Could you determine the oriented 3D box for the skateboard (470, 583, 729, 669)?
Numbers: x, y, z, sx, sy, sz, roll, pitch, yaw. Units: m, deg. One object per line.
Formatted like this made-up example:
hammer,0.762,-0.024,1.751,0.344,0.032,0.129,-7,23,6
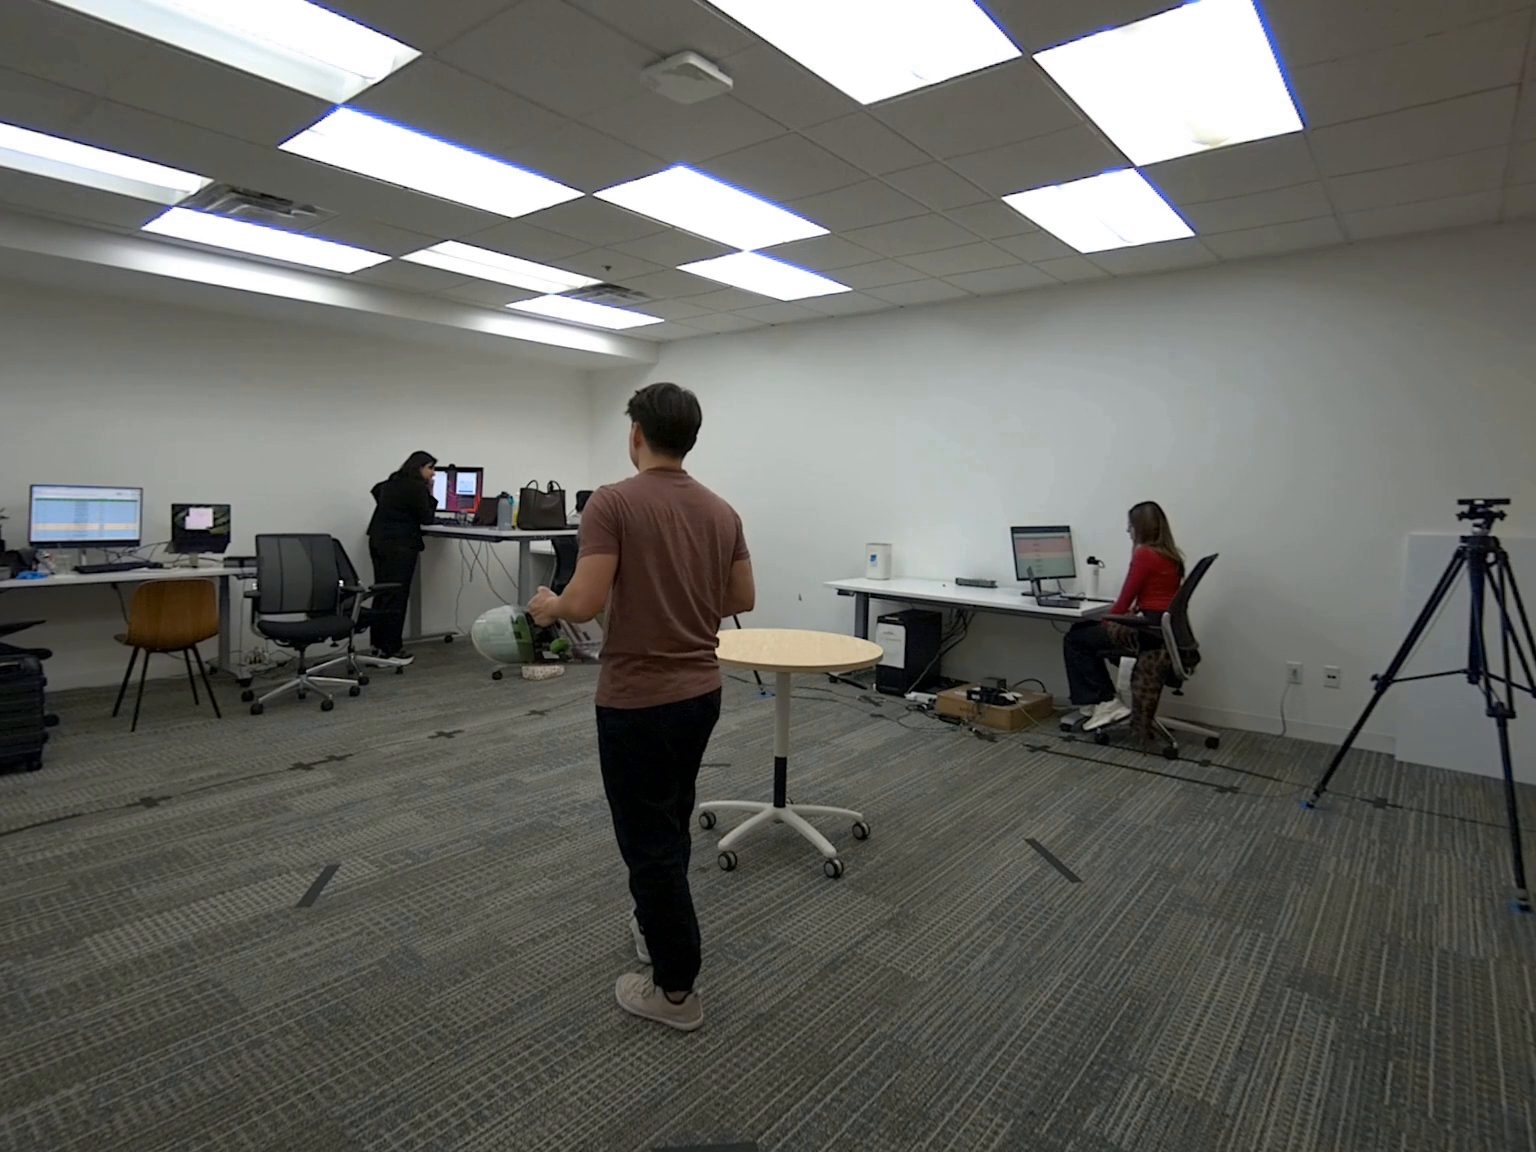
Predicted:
skateboard,-0.469,0.148,2.478,0.759,0.200,0.110,4,-44,-45
